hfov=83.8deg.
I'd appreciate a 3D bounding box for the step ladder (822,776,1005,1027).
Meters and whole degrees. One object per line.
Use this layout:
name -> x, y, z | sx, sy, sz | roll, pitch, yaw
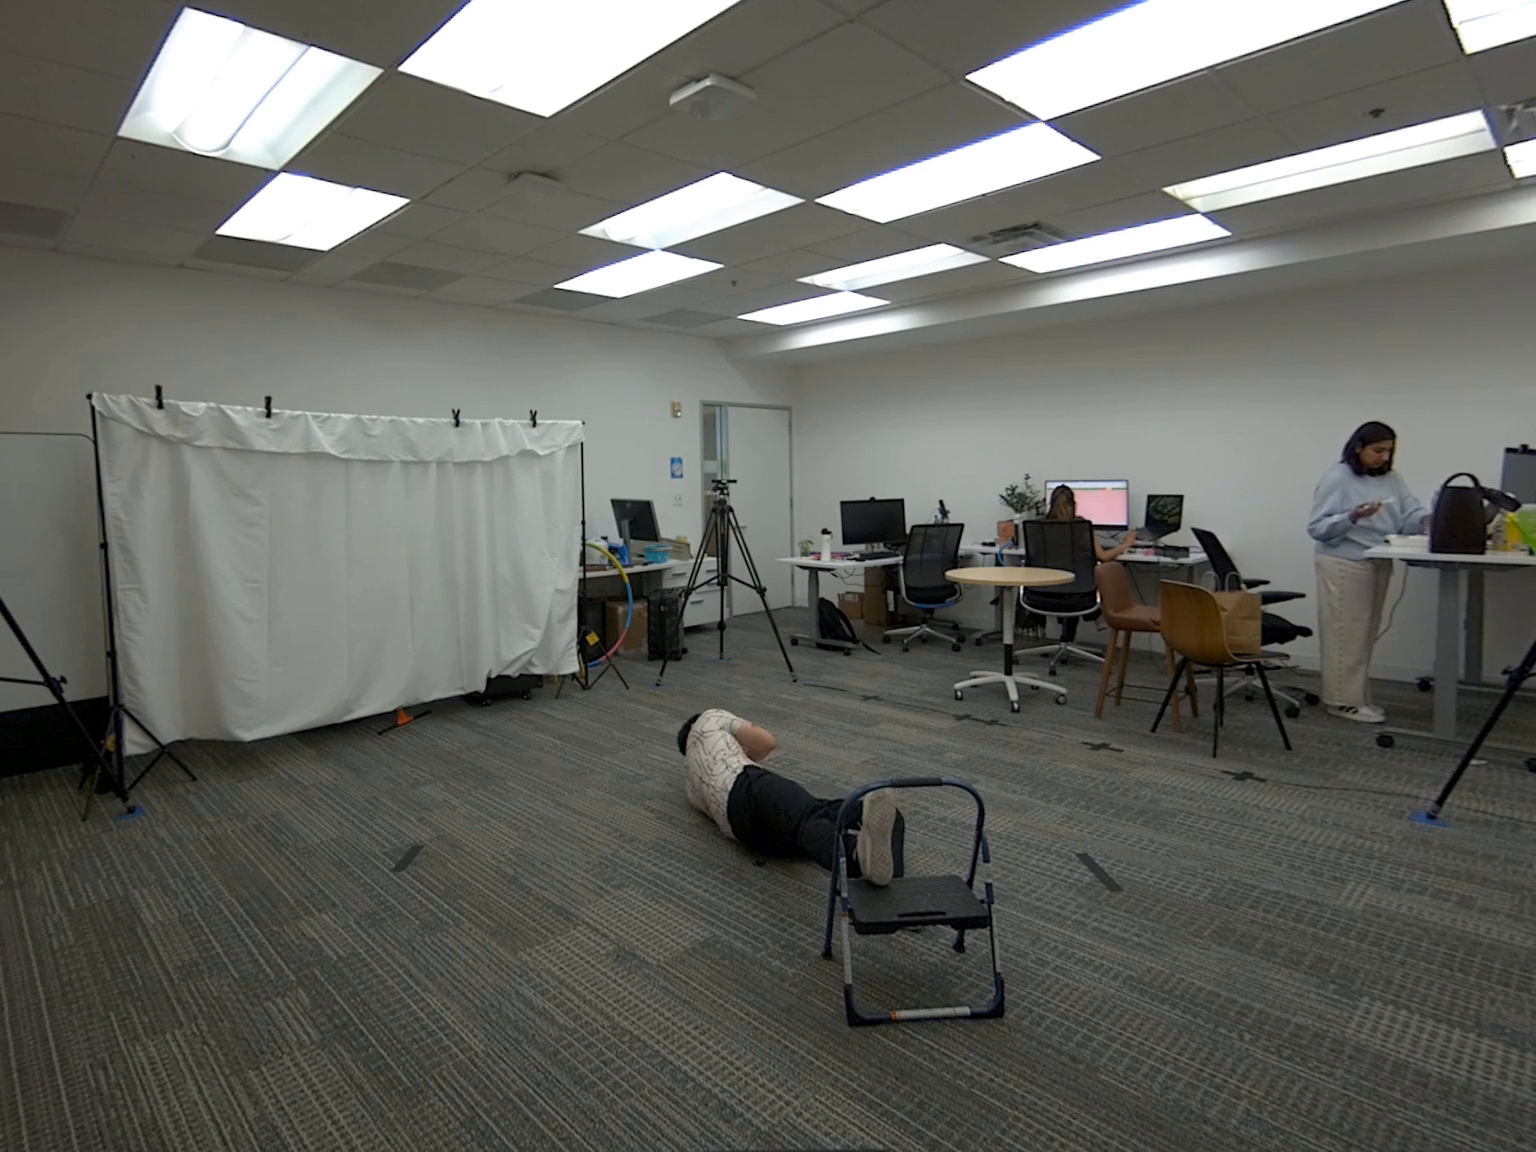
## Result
step ladder -> 0.391, 0.829, 2.336 | 0.428, 0.604, 0.352 | -2, 4, -6
